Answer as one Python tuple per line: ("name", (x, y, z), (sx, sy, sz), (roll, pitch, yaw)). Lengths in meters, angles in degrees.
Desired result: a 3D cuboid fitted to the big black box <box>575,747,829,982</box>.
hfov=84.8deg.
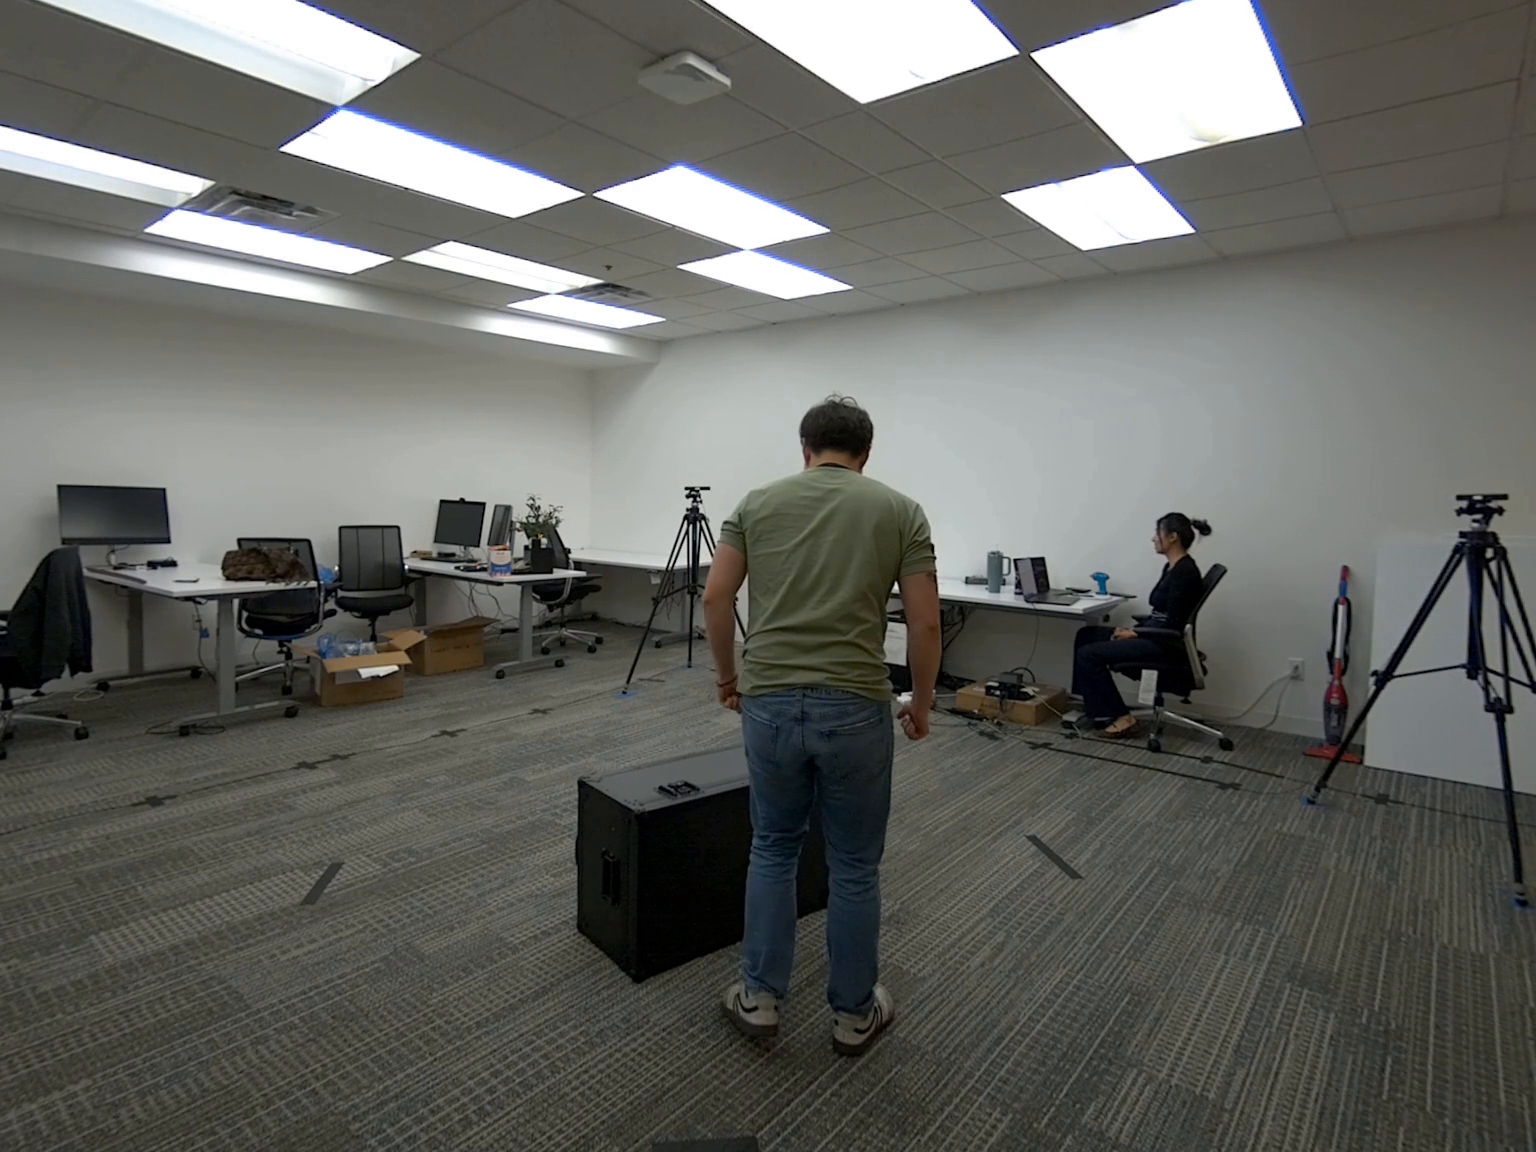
("big black box", (-0.175, 0.858, 2.765), (0.836, 0.520, 0.409), (-2, 5, -38))
